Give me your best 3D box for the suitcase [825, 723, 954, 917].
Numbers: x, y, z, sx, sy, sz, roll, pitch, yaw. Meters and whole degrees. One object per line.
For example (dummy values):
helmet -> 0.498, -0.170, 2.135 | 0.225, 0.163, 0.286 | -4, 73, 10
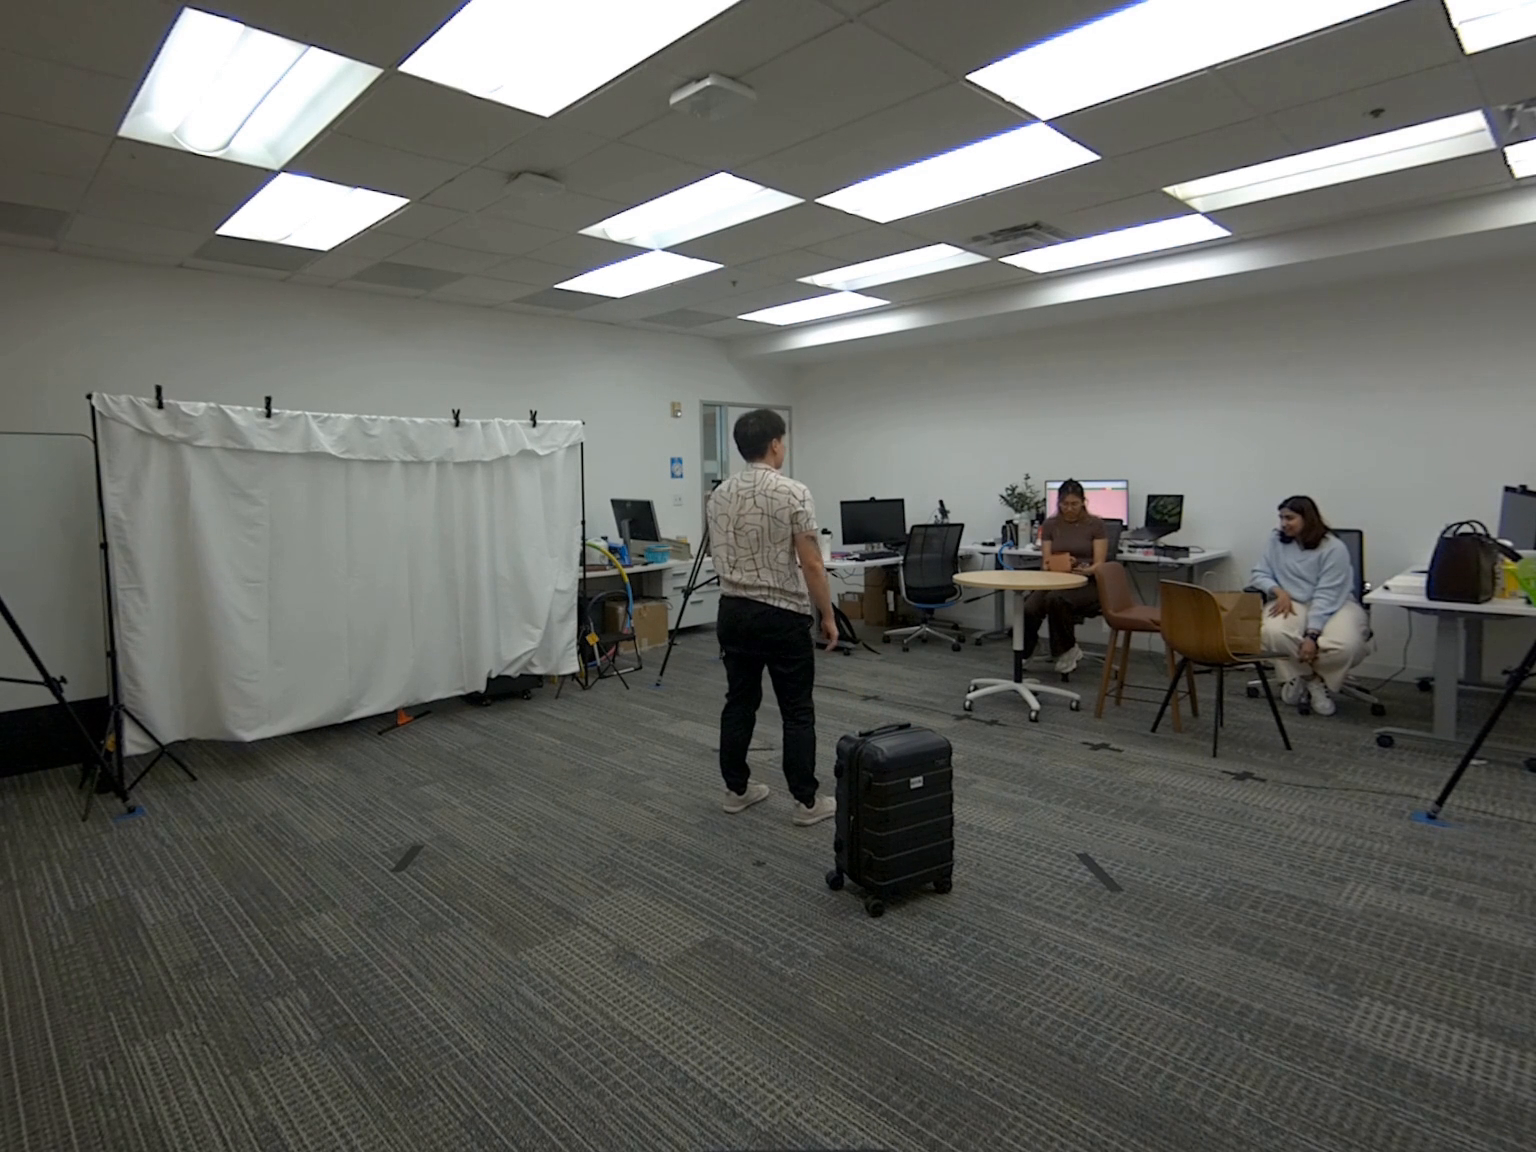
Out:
suitcase -> 0.437, 0.788, 2.883 | 0.366, 0.548, 0.255 | -1, 3, -31
